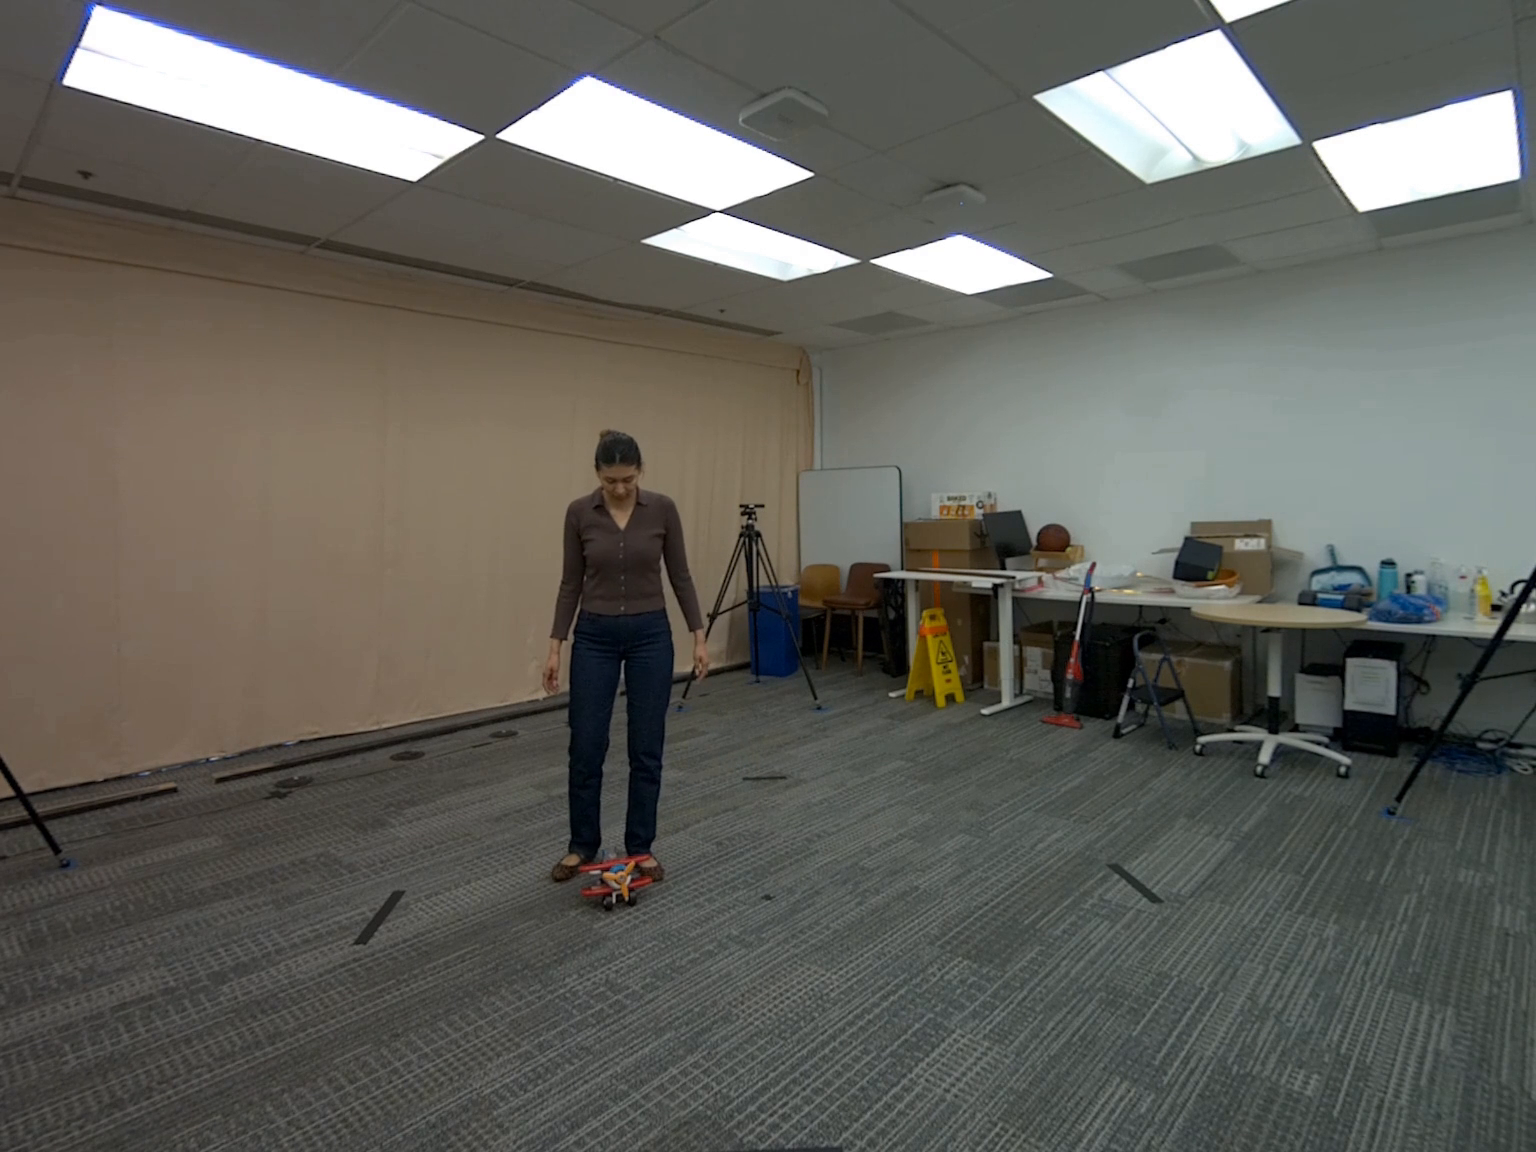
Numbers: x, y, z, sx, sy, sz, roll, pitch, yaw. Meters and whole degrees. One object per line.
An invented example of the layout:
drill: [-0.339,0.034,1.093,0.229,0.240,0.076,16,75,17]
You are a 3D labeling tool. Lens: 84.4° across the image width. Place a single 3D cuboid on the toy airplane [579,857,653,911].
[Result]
toy airplane: [-0.567,1.076,3.011,0.268,0.156,0.244,3,8,39]
